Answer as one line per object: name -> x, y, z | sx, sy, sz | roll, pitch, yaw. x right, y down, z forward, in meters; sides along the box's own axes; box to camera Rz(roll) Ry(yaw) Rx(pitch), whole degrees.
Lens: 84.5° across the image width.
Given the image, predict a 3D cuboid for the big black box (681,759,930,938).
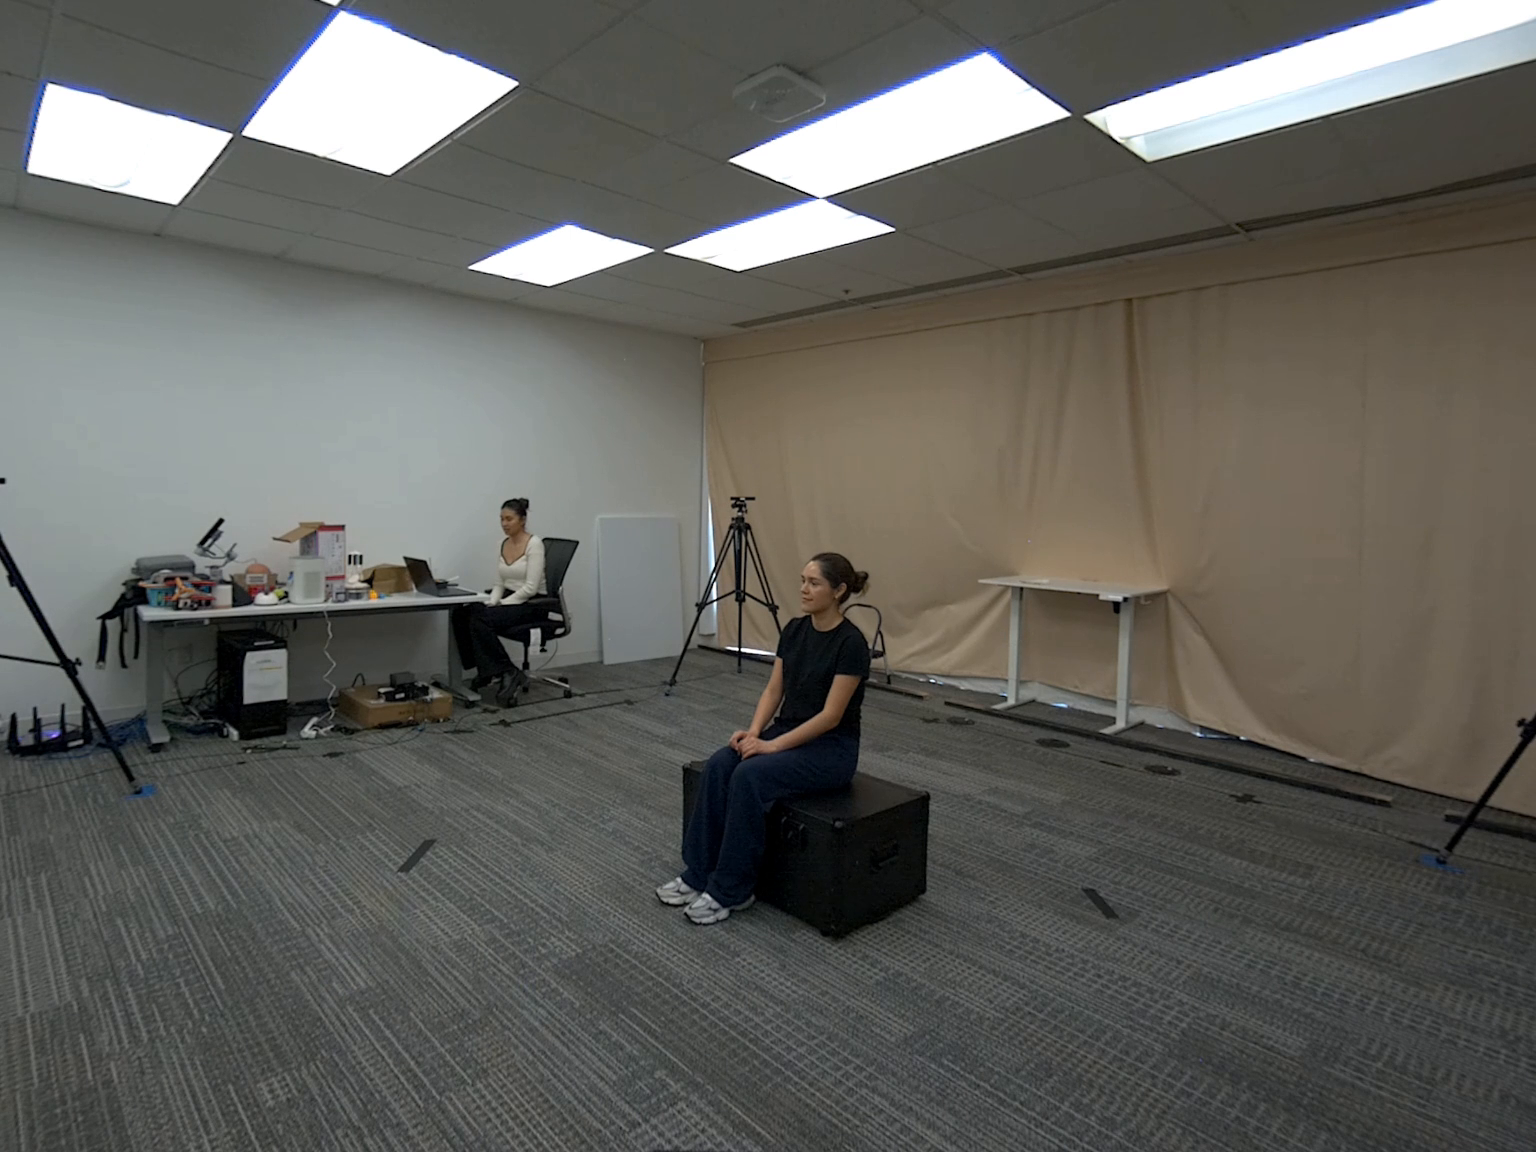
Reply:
big black box -> 0.093, 0.926, 3.088 | 0.509, 0.395, 0.884 | -2, 6, -44
